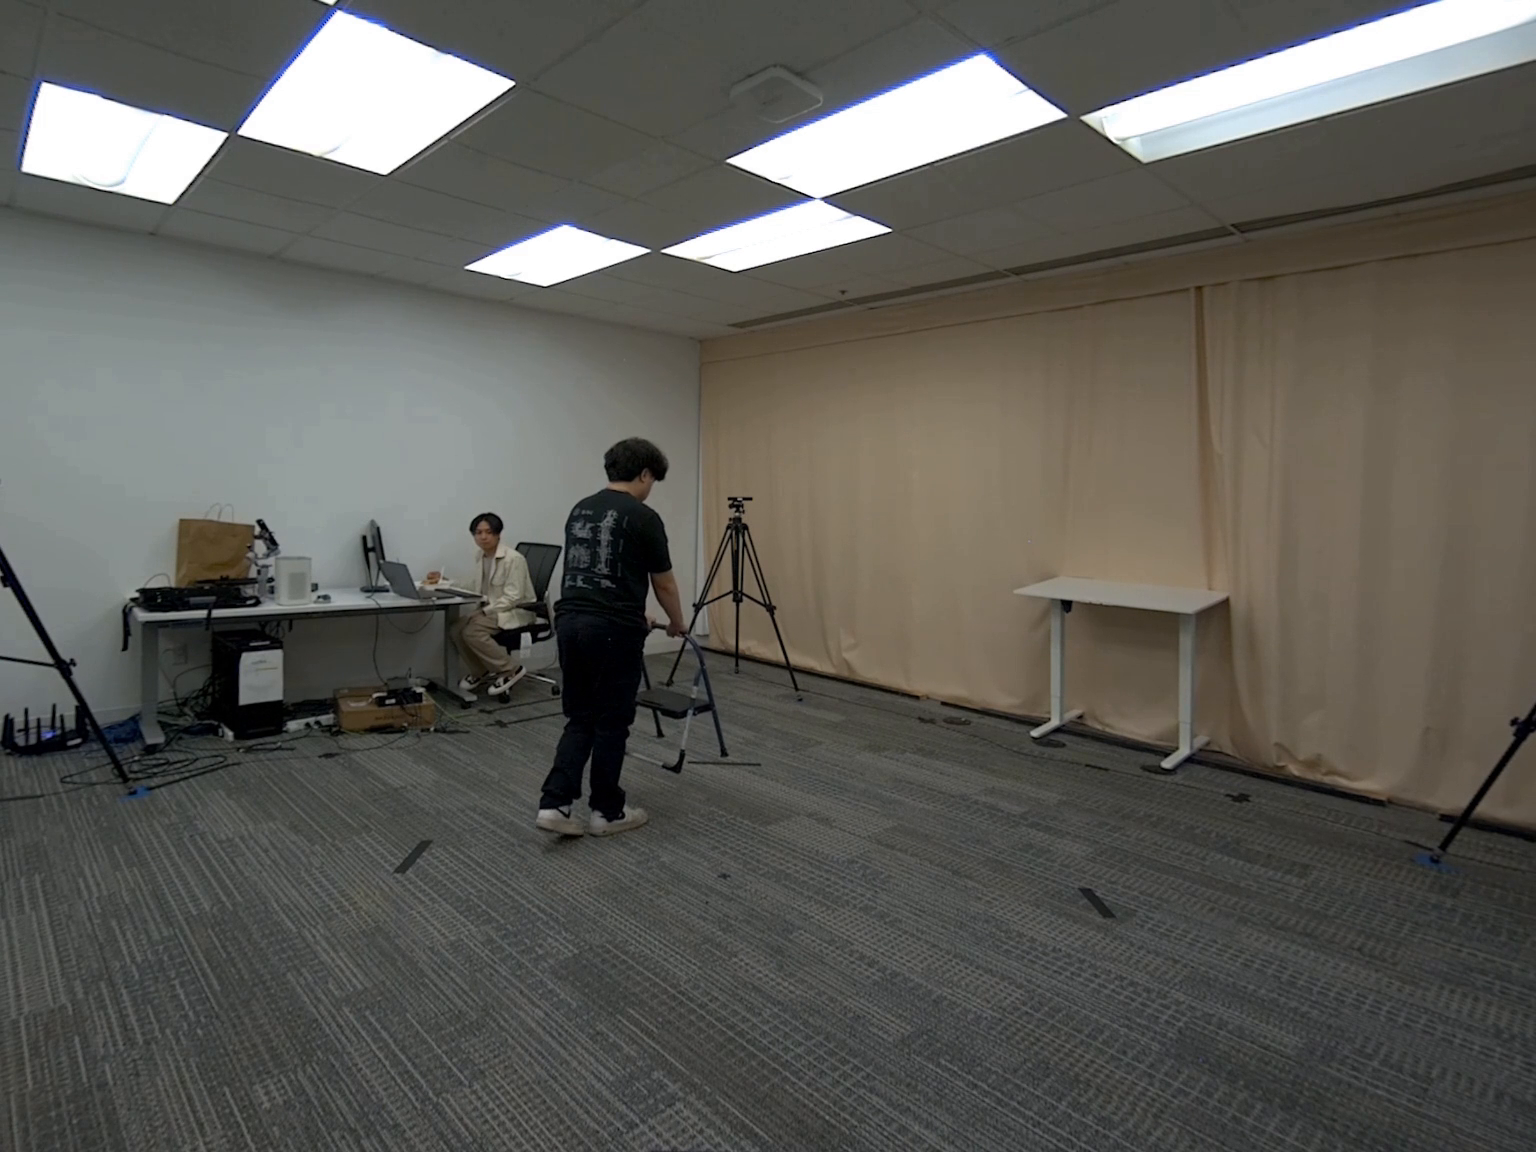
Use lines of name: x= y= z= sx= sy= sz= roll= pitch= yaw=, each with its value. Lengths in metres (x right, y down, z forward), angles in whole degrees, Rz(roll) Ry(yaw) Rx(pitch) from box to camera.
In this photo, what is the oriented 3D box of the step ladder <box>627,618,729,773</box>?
step ladder: x=-0.446 y=0.514 z=3.818 sx=0.441 sy=0.604 sz=0.342 roll=6 pitch=6 yaw=36
